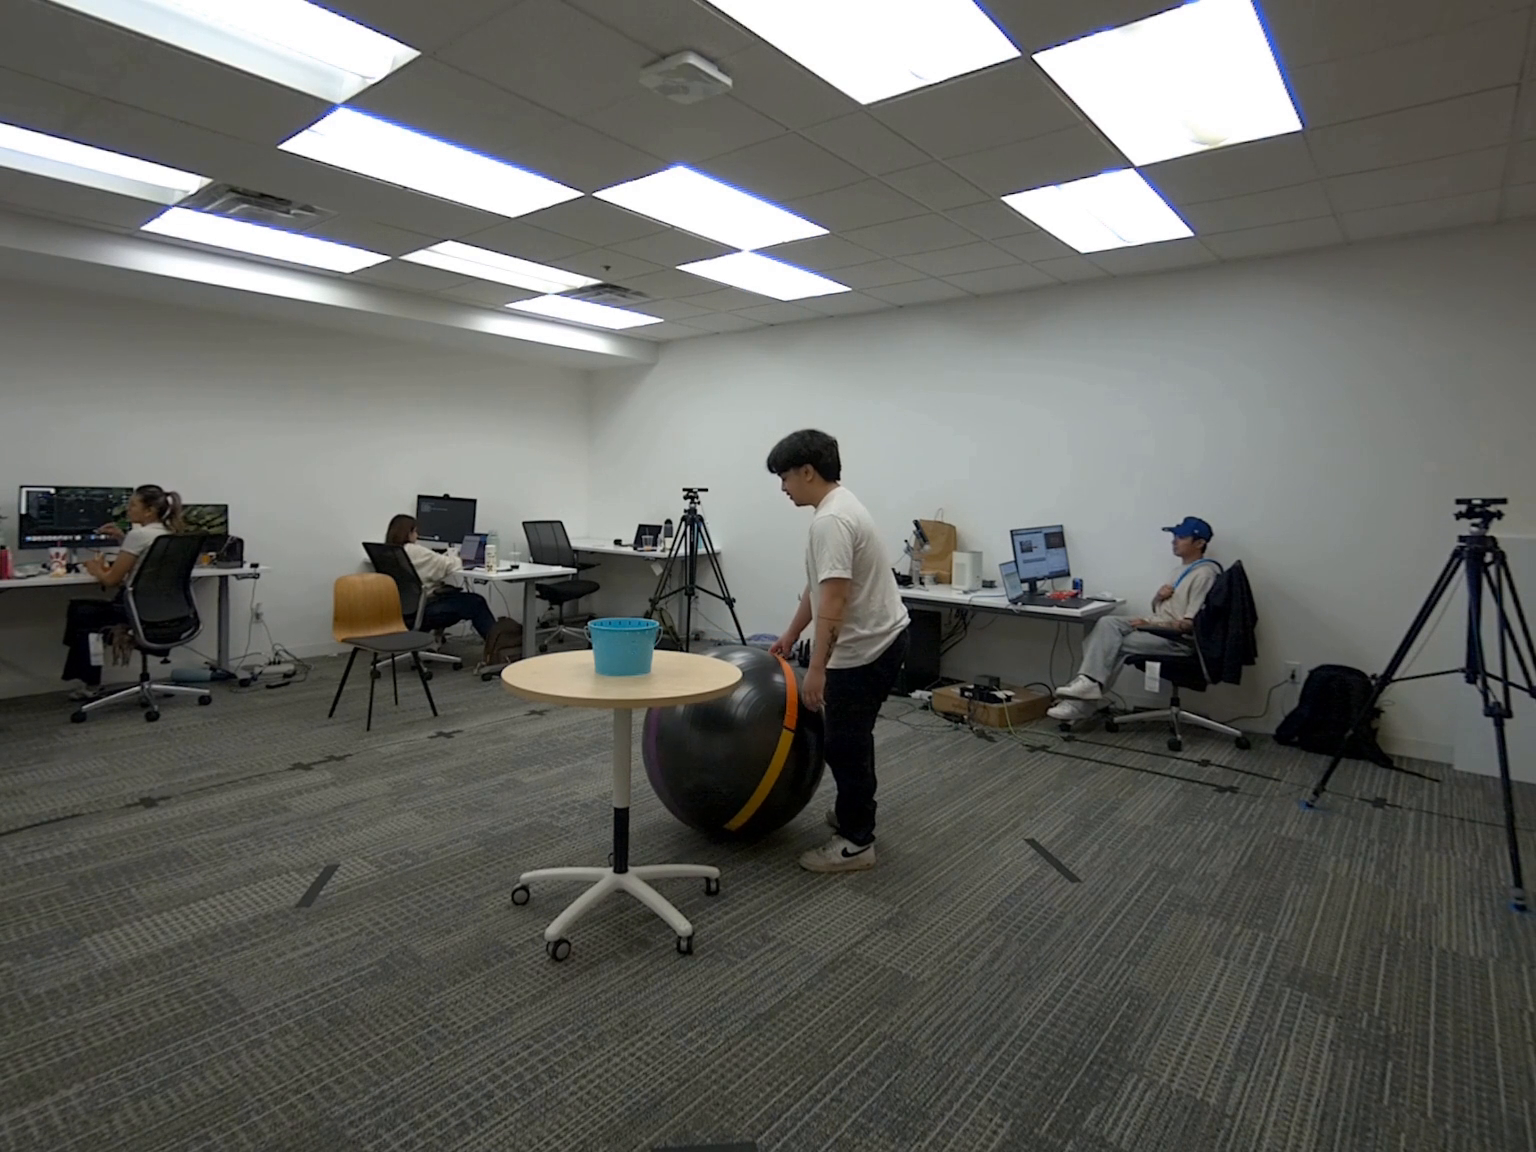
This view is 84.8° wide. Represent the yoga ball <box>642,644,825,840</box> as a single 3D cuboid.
[{"bbox_3d":[-0.148,0.670,3.463,0.757,0.756,0.761,1,4,-2],"label":"yoga ball"}]
